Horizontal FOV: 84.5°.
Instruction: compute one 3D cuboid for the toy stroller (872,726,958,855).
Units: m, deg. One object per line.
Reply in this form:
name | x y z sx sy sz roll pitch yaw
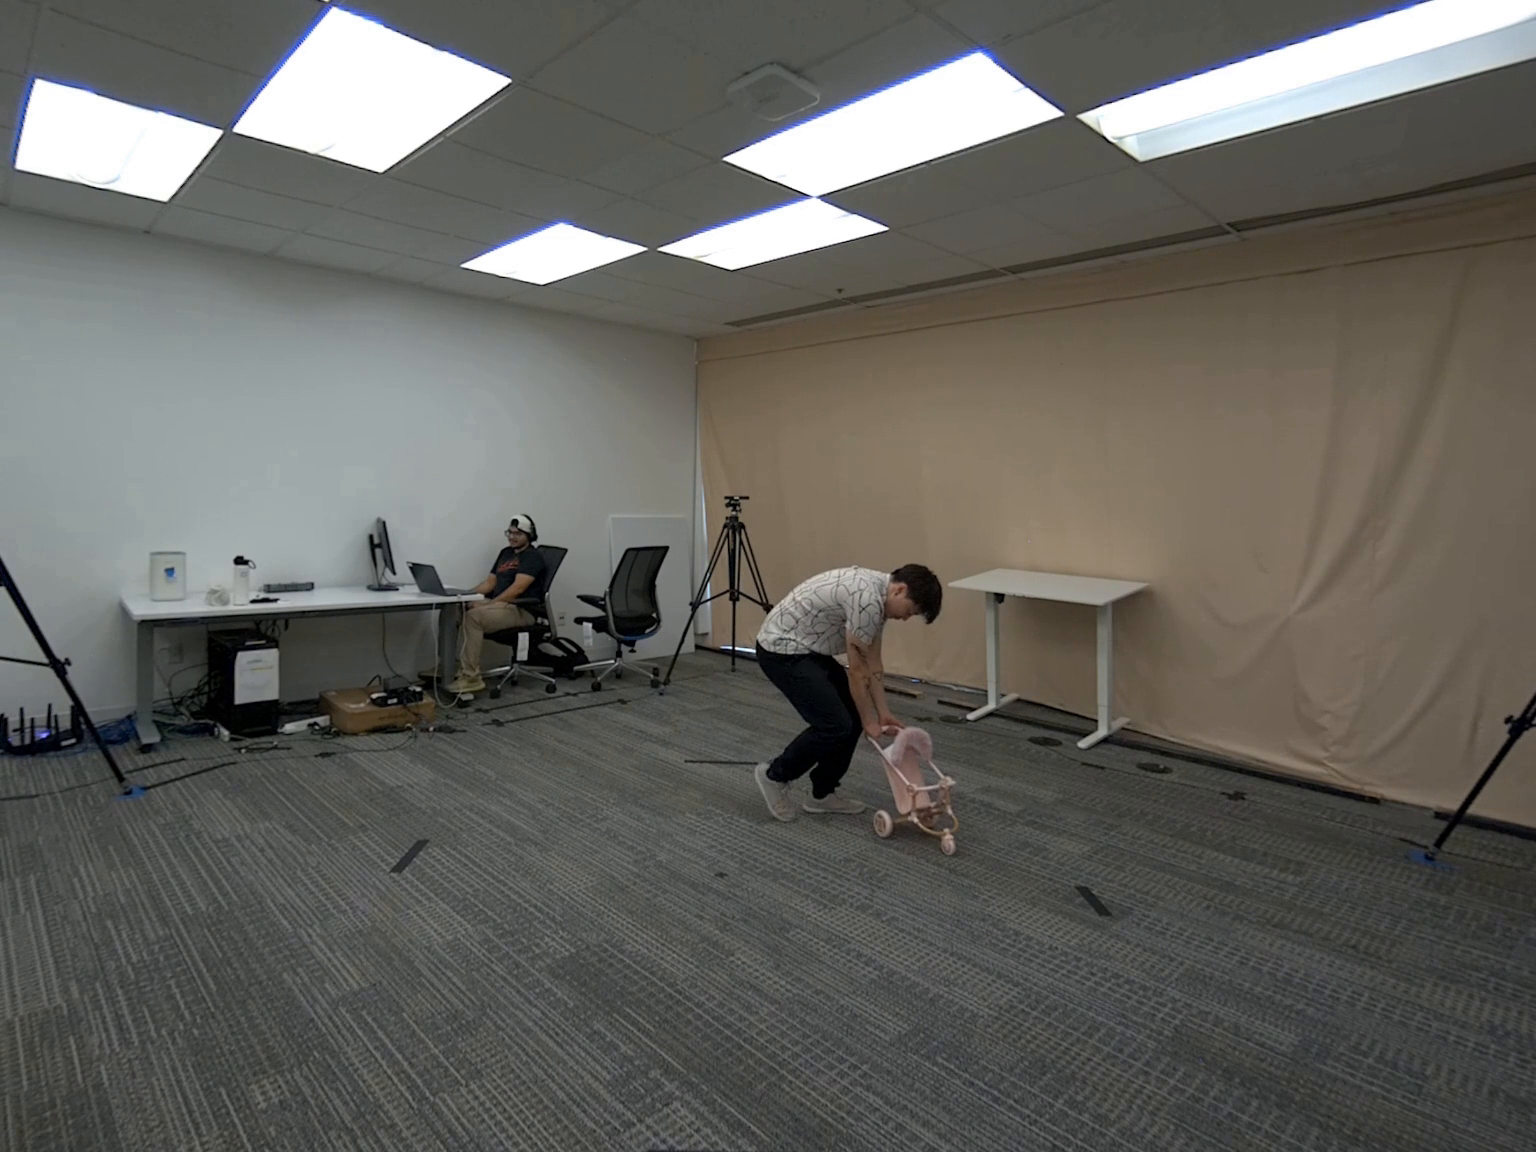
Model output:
toy stroller | 0.605 0.865 3.498 0.276 0.541 0.344 -1 -14 -27
